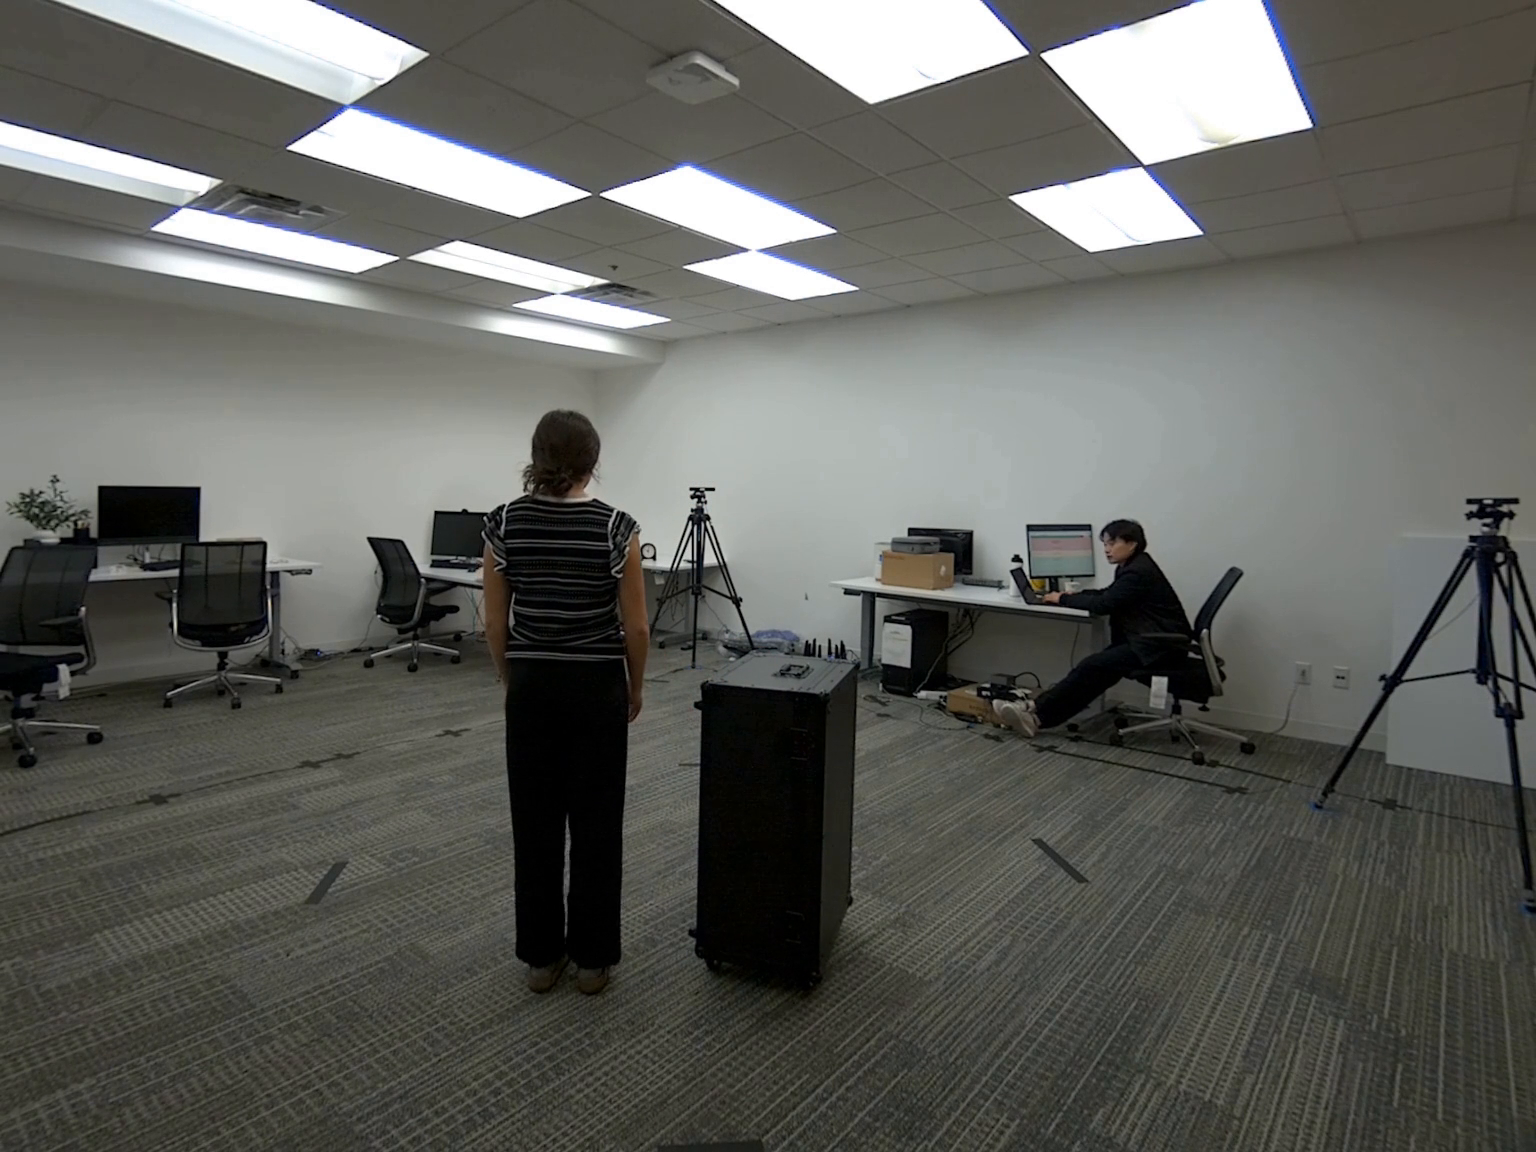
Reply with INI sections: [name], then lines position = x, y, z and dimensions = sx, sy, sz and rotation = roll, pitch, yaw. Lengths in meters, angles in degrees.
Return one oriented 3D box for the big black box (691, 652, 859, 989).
[big black box]
position = 0.017, 0.703, 2.536
dimensions = 0.404, 0.859, 0.513
rotation = 2, 4, 18
